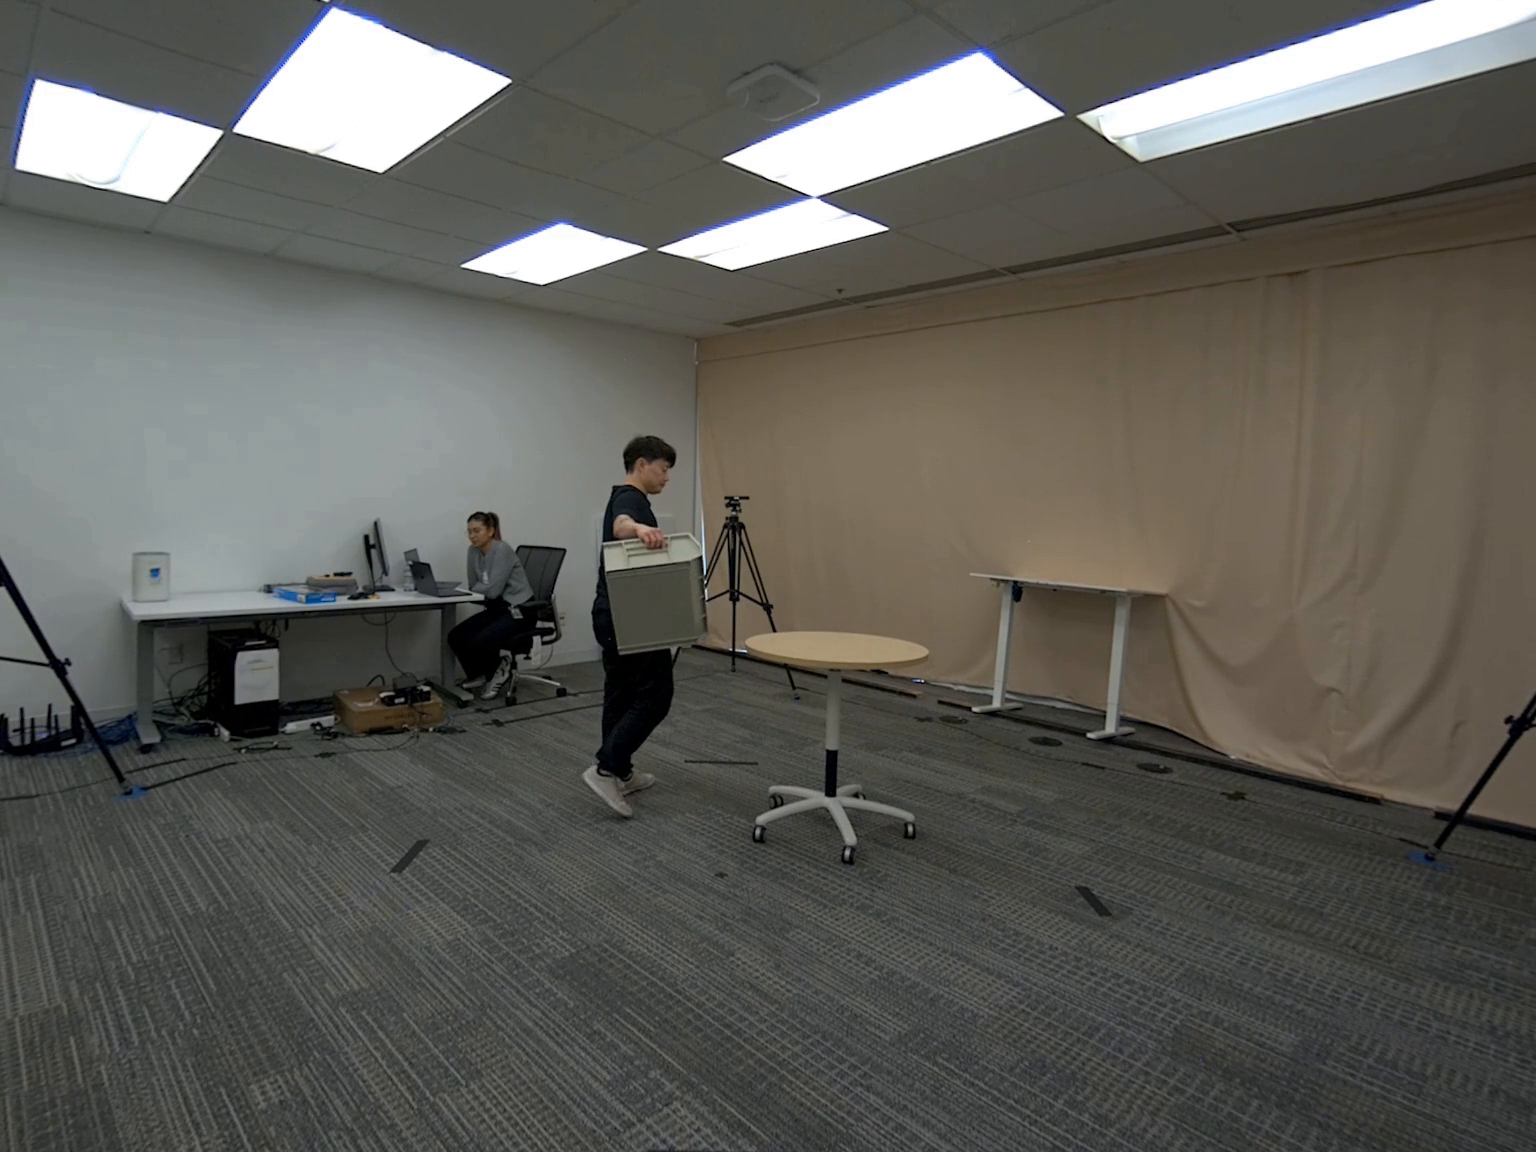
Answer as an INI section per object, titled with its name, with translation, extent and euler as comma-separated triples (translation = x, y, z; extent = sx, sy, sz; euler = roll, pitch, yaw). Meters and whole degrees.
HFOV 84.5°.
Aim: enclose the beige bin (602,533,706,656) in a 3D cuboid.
[beige bin]
translation = -0.442, 0.069, 3.285
extent = 0.375, 0.413, 0.194
euler = -6, 37, -7
